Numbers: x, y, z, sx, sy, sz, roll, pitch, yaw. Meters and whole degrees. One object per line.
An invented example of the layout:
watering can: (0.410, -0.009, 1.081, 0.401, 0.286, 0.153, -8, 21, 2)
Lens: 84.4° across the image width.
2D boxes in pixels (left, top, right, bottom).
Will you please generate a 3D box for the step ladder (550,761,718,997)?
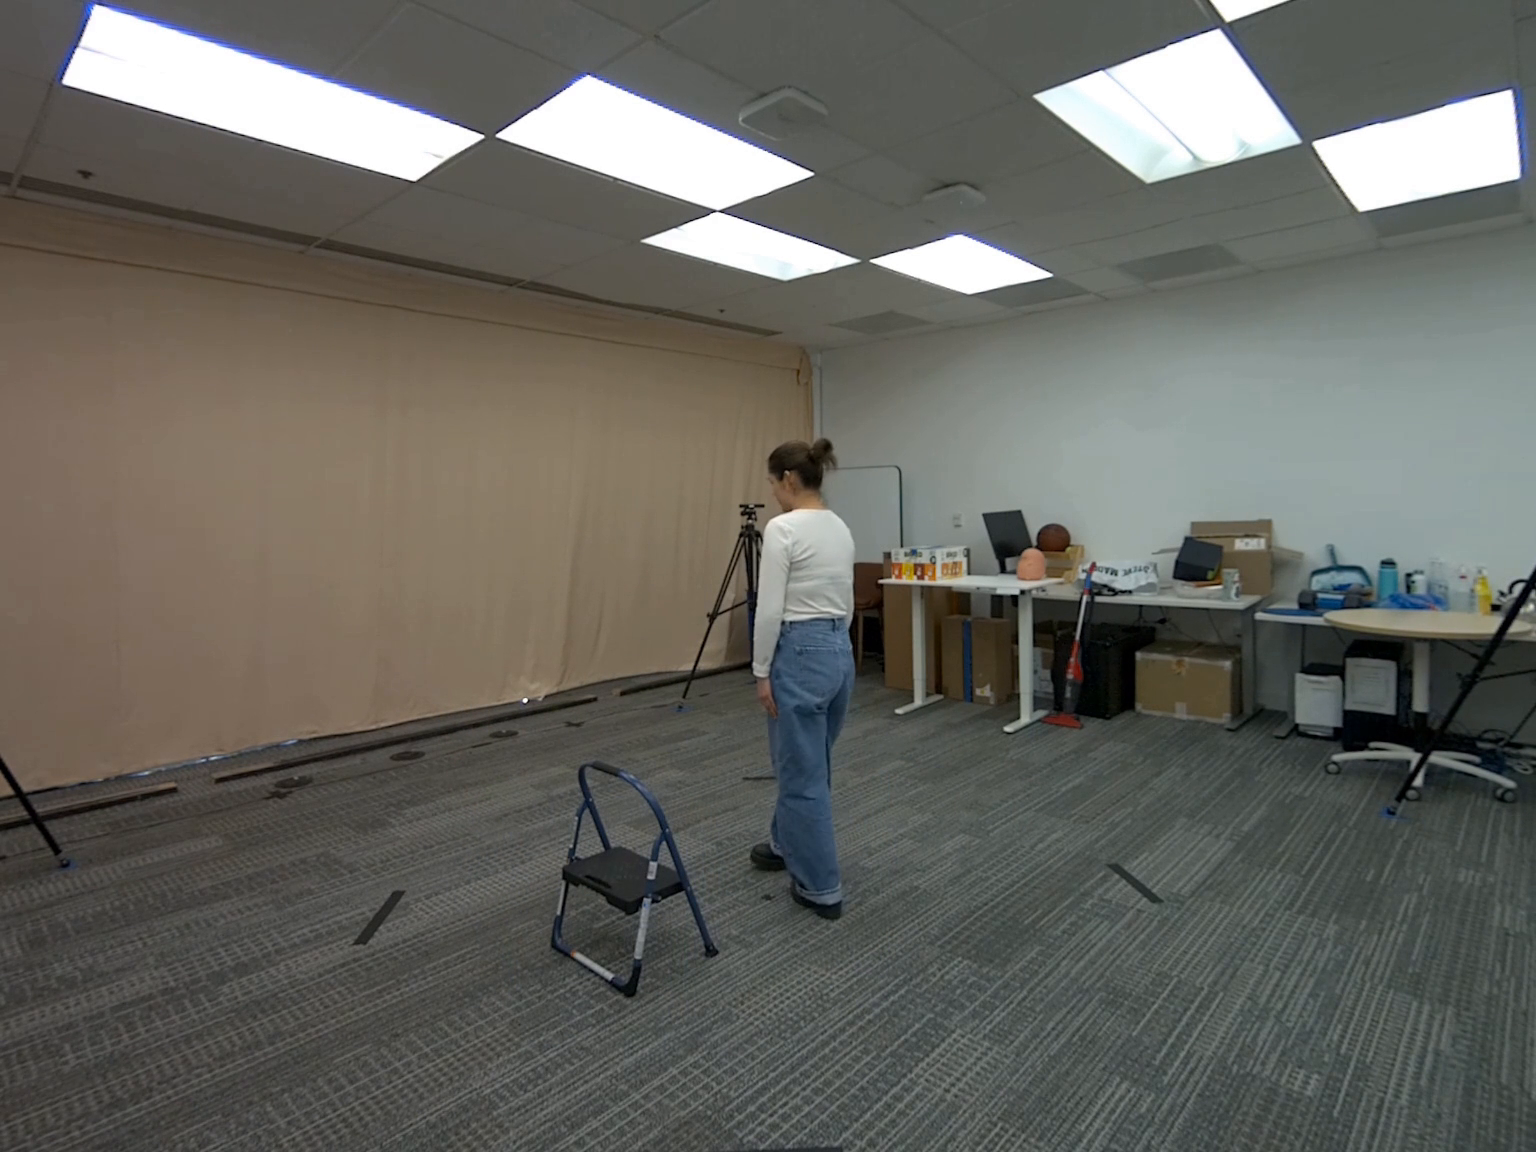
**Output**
step ladder: (-0.429, 0.877, 2.635, 0.445, 0.605, 0.339, 2, 4, 43)
